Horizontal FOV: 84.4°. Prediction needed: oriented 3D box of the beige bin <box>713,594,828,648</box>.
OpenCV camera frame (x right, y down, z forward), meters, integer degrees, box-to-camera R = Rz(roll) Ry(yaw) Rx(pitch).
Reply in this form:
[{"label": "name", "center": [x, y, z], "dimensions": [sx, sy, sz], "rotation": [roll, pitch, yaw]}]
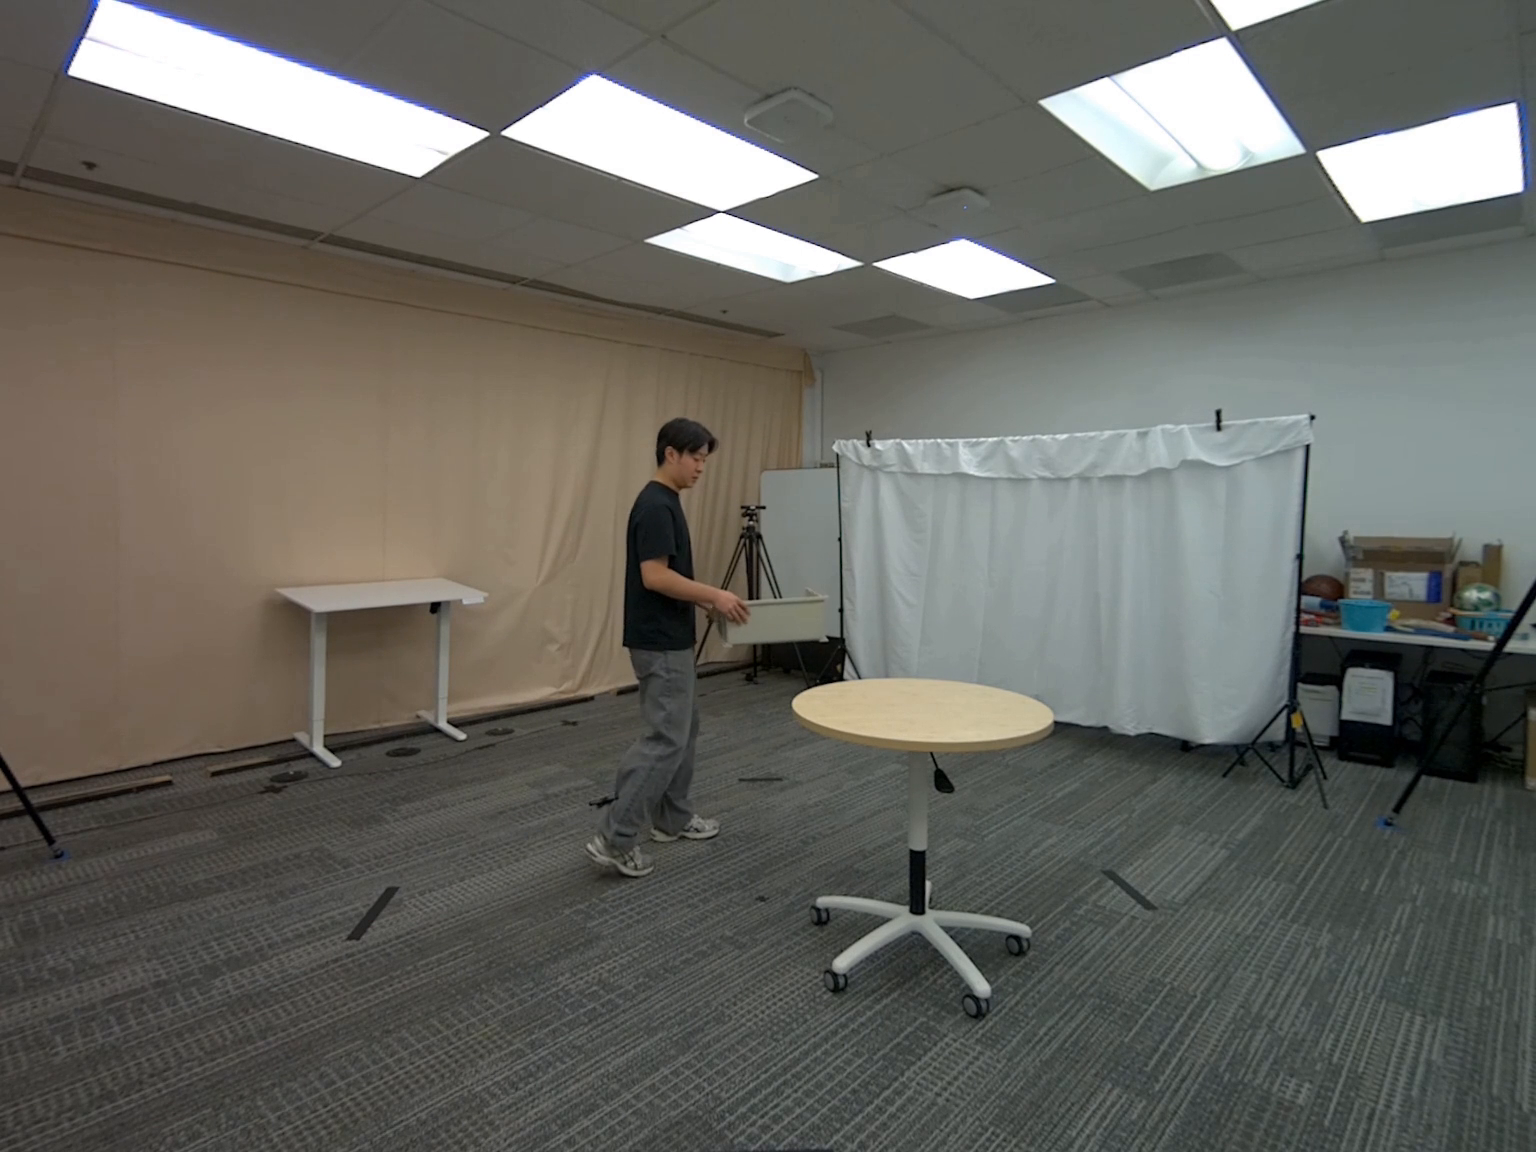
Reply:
[{"label": "beige bin", "center": [-0.001, 0.164, 3.428], "dimensions": [0.418, 0.188, 0.382], "rotation": [-2, 7, -9]}]
